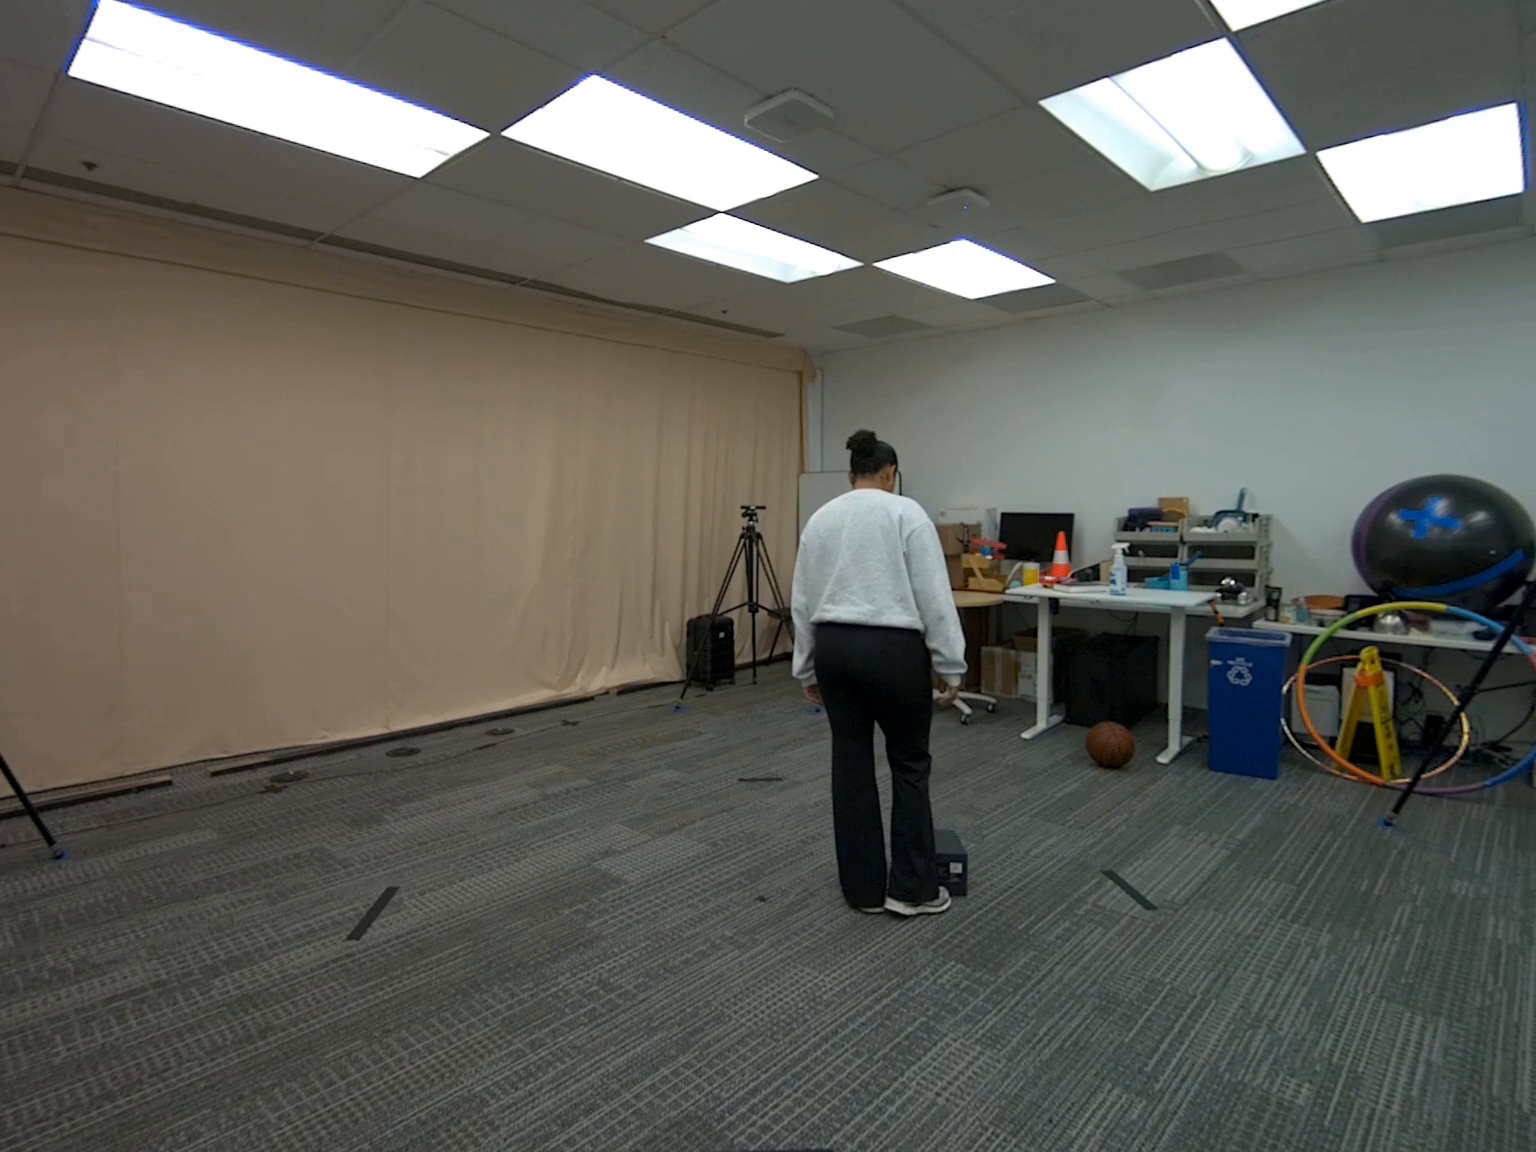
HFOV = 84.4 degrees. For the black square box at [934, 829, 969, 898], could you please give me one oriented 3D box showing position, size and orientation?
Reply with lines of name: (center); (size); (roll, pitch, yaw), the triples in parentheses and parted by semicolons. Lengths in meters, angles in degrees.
black square box: (0.608, 1.047, 3.112); (0.218, 0.155, 0.228); (0, 4, 2)
